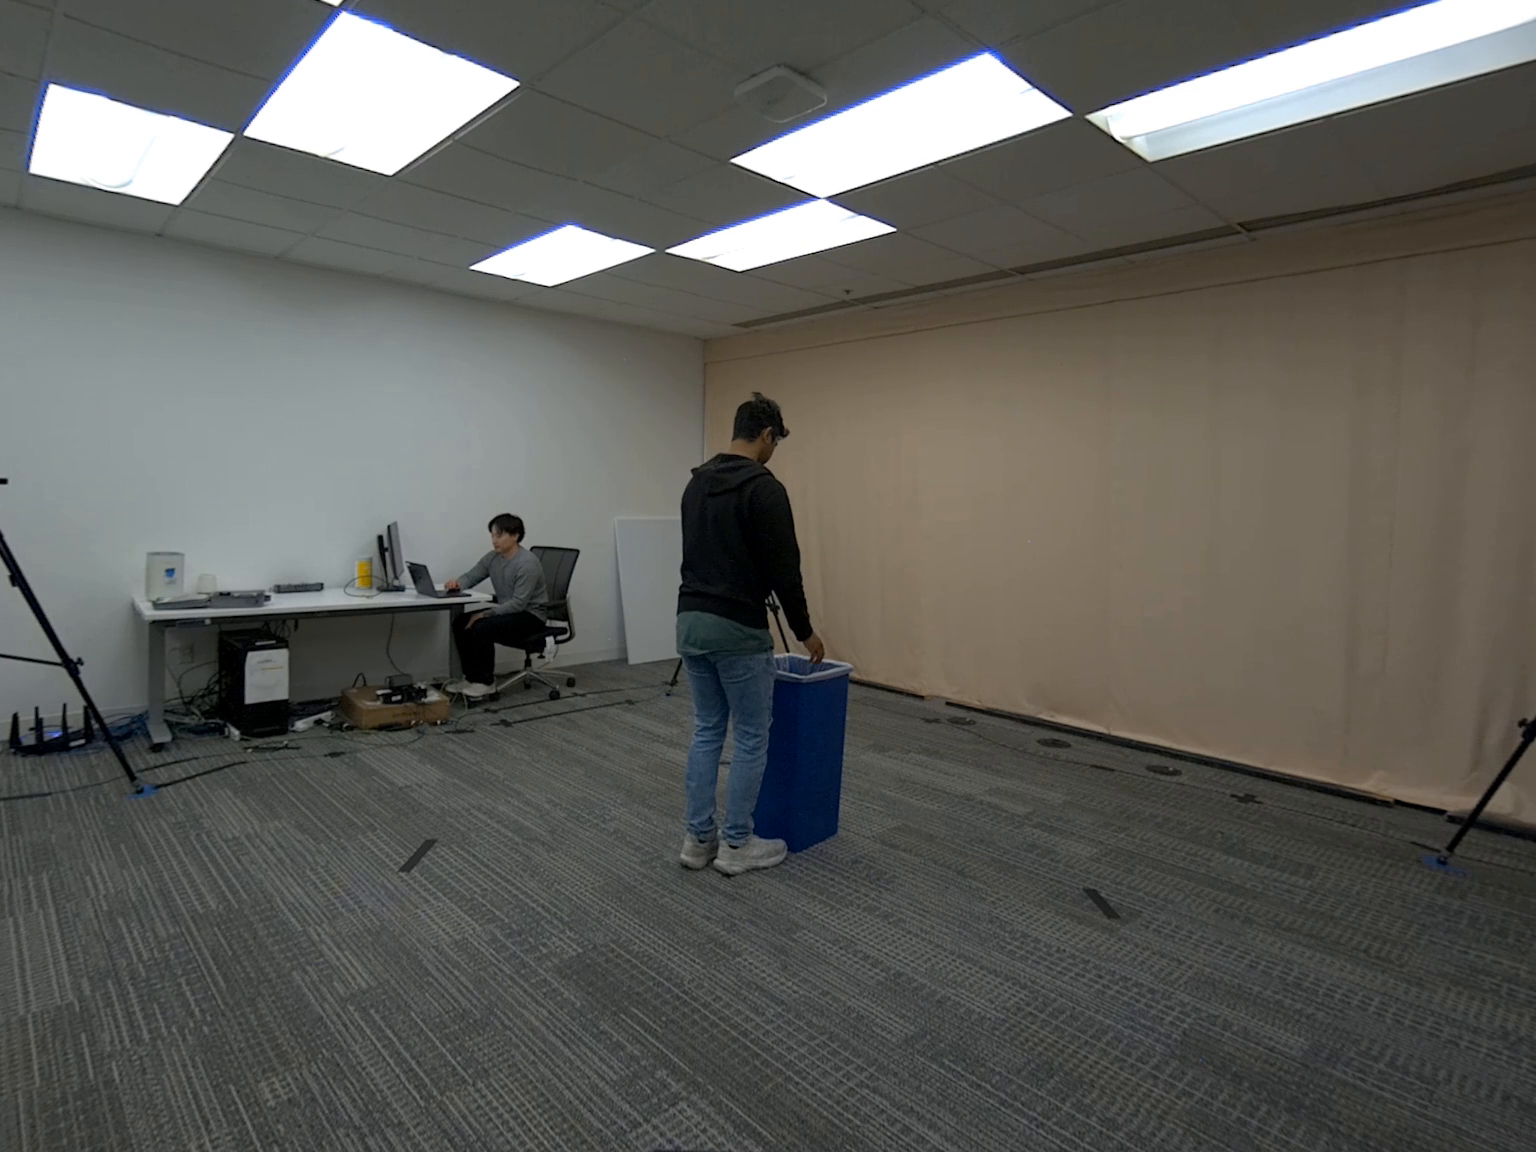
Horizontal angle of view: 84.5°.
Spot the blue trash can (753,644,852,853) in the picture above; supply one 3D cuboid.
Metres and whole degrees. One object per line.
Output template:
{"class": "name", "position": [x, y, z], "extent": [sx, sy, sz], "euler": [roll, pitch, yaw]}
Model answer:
{"class": "blue trash can", "position": [0.101, 0.721, 3.506], "extent": [0.383, 0.712, 0.369], "euler": [4, 4, 39]}
